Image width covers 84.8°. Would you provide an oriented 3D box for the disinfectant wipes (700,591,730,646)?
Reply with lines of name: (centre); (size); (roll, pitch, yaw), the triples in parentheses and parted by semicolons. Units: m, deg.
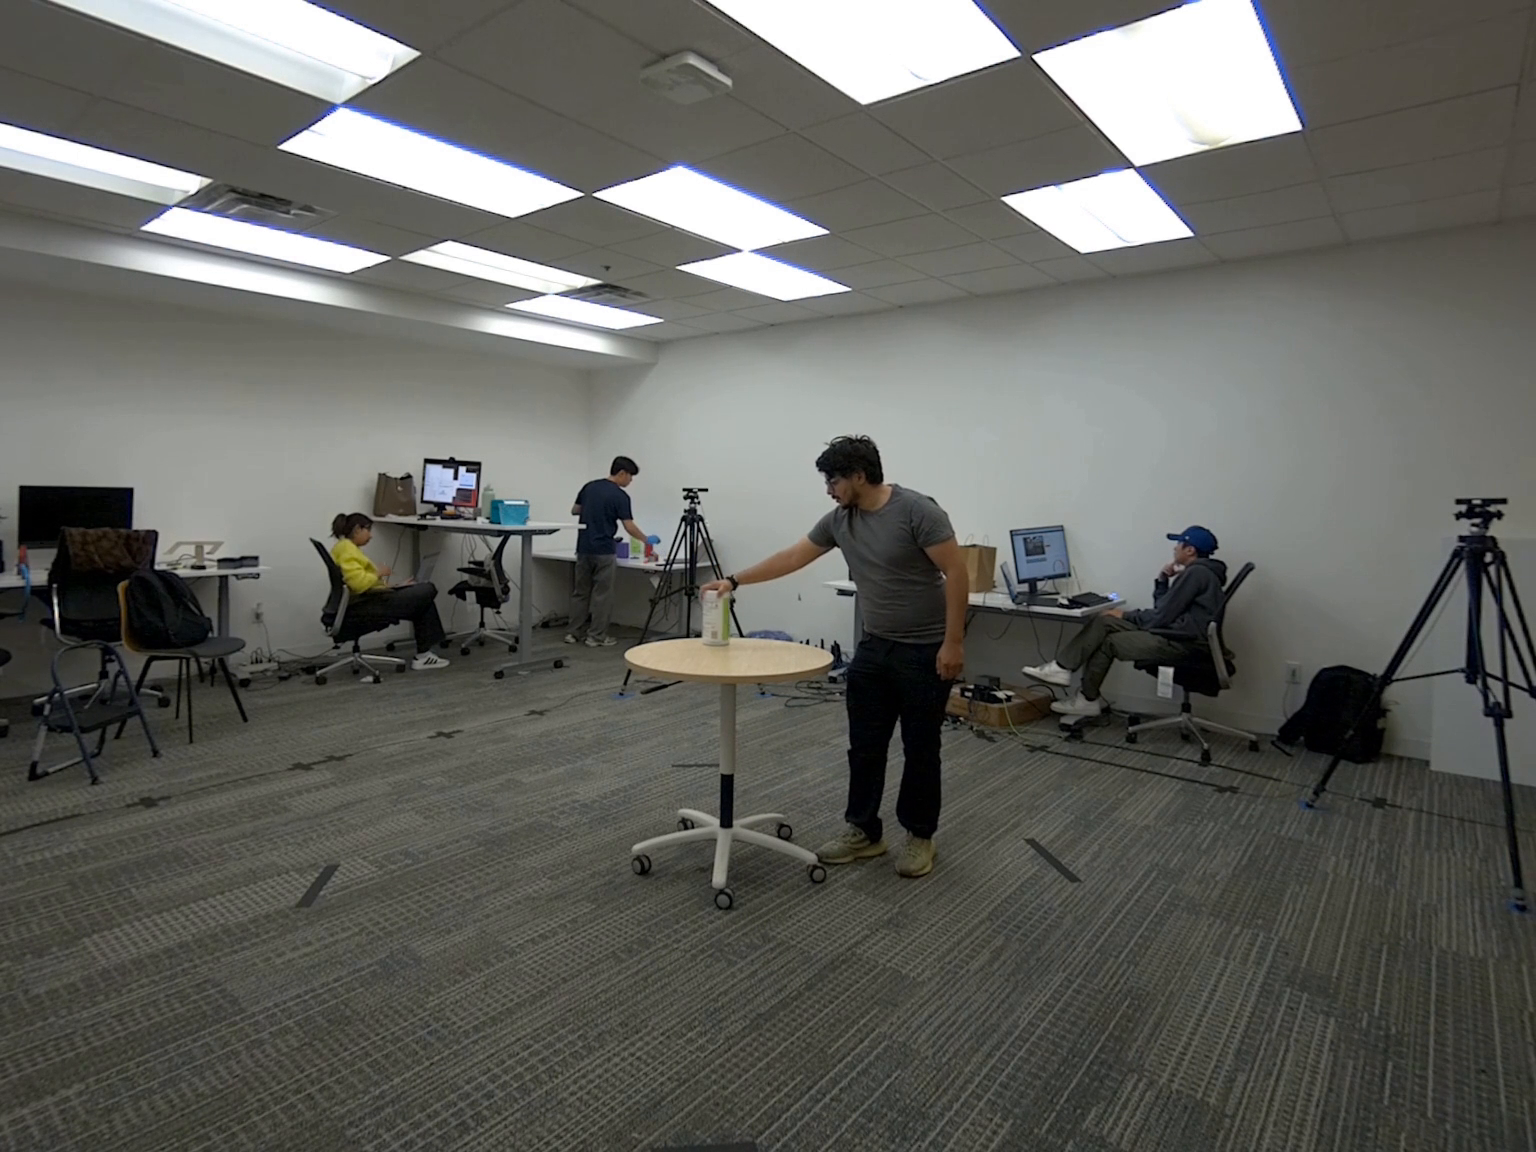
disinfectant wipes: (-0.210, 0.160, 3.367); (0.118, 0.217, 0.118); (2, 1, -2)
